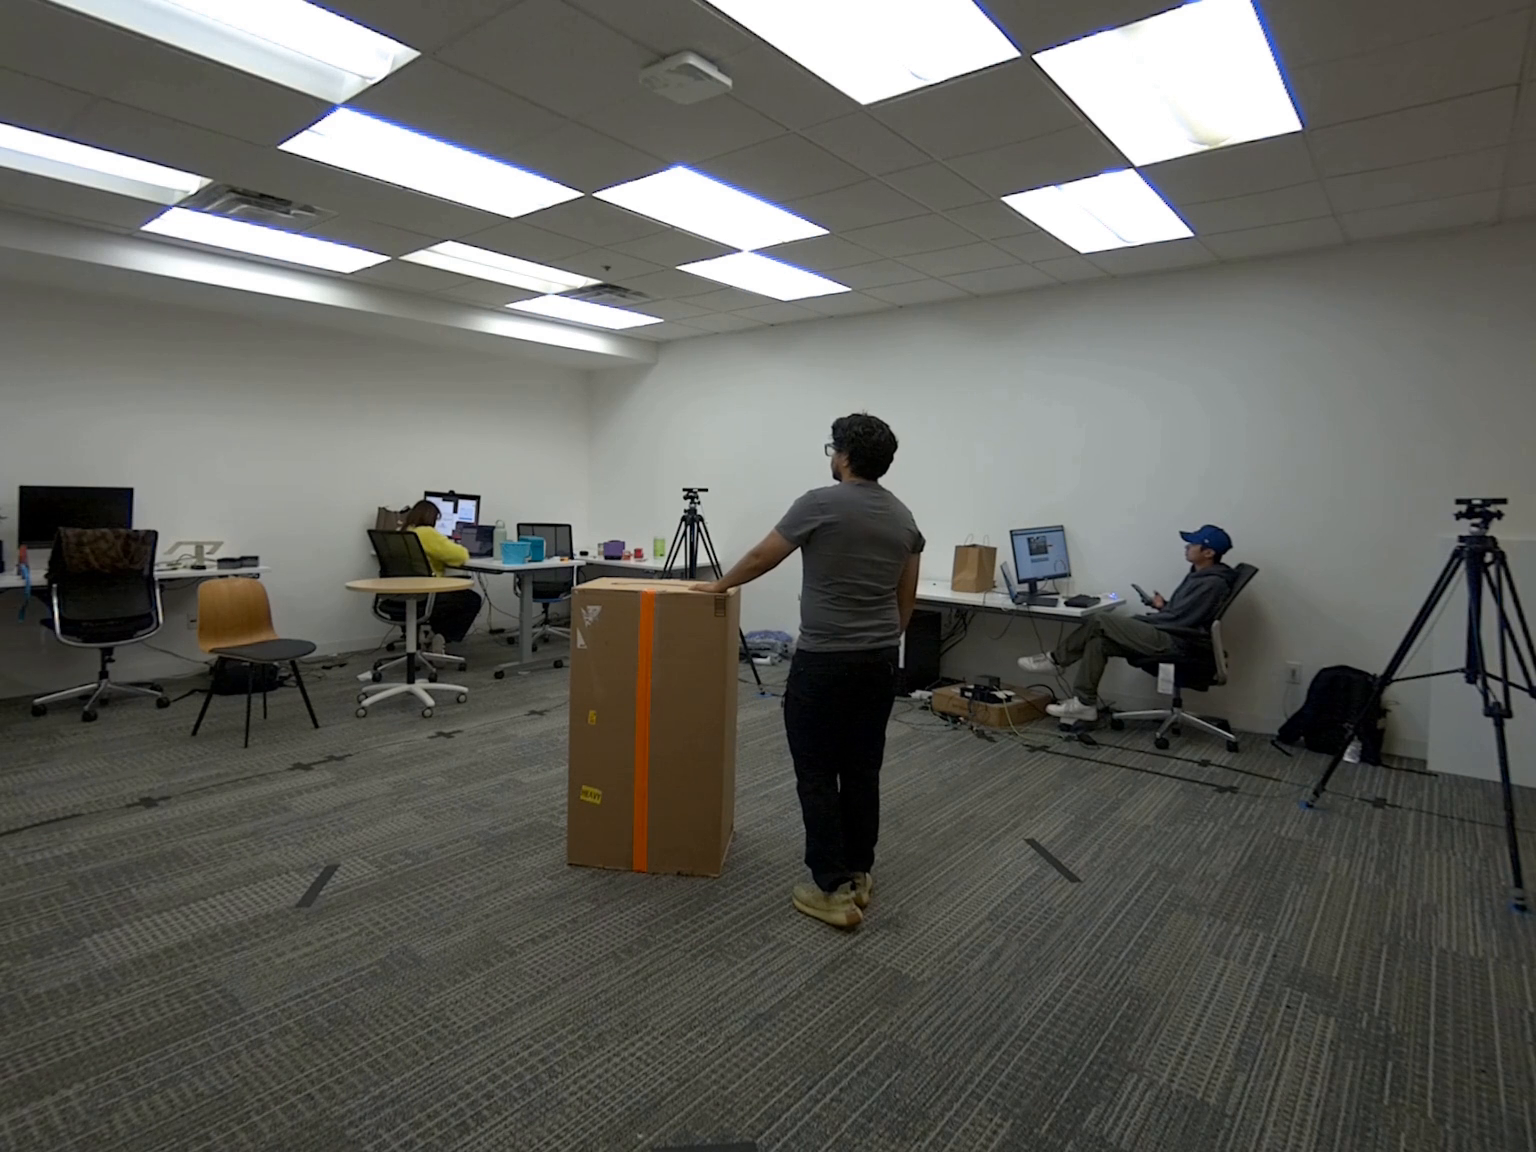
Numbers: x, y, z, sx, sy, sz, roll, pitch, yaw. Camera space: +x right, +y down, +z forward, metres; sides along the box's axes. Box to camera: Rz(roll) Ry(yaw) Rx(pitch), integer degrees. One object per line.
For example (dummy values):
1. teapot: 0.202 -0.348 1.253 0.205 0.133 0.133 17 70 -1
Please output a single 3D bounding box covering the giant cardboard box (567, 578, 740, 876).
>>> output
1. giant cardboard box: -0.437 0.540 3.264 0.583 1.023 0.423 2 3 7
